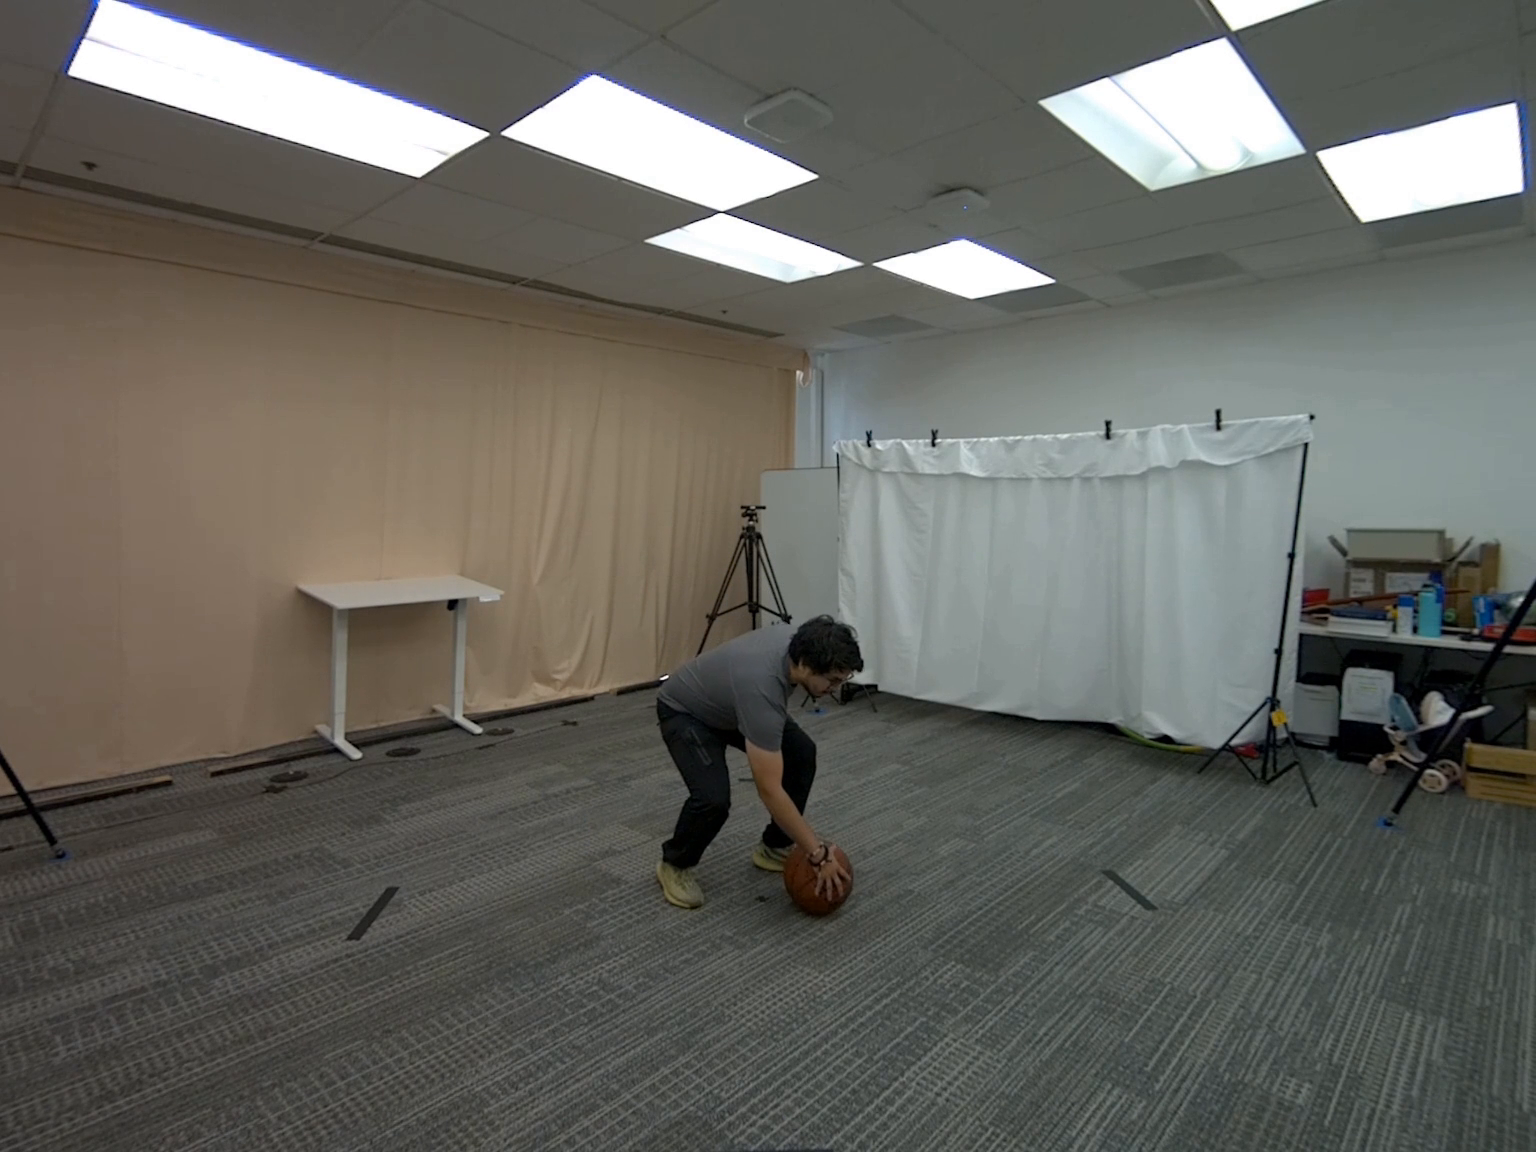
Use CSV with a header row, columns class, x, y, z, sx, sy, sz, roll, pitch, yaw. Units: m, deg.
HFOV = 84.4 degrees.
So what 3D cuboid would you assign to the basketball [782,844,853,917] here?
class,x,y,z,sx,sy,sz,roll,pitch,yaw
basketball,0.184,1.029,2.883,0.236,0.235,0.237,0,4,-2
